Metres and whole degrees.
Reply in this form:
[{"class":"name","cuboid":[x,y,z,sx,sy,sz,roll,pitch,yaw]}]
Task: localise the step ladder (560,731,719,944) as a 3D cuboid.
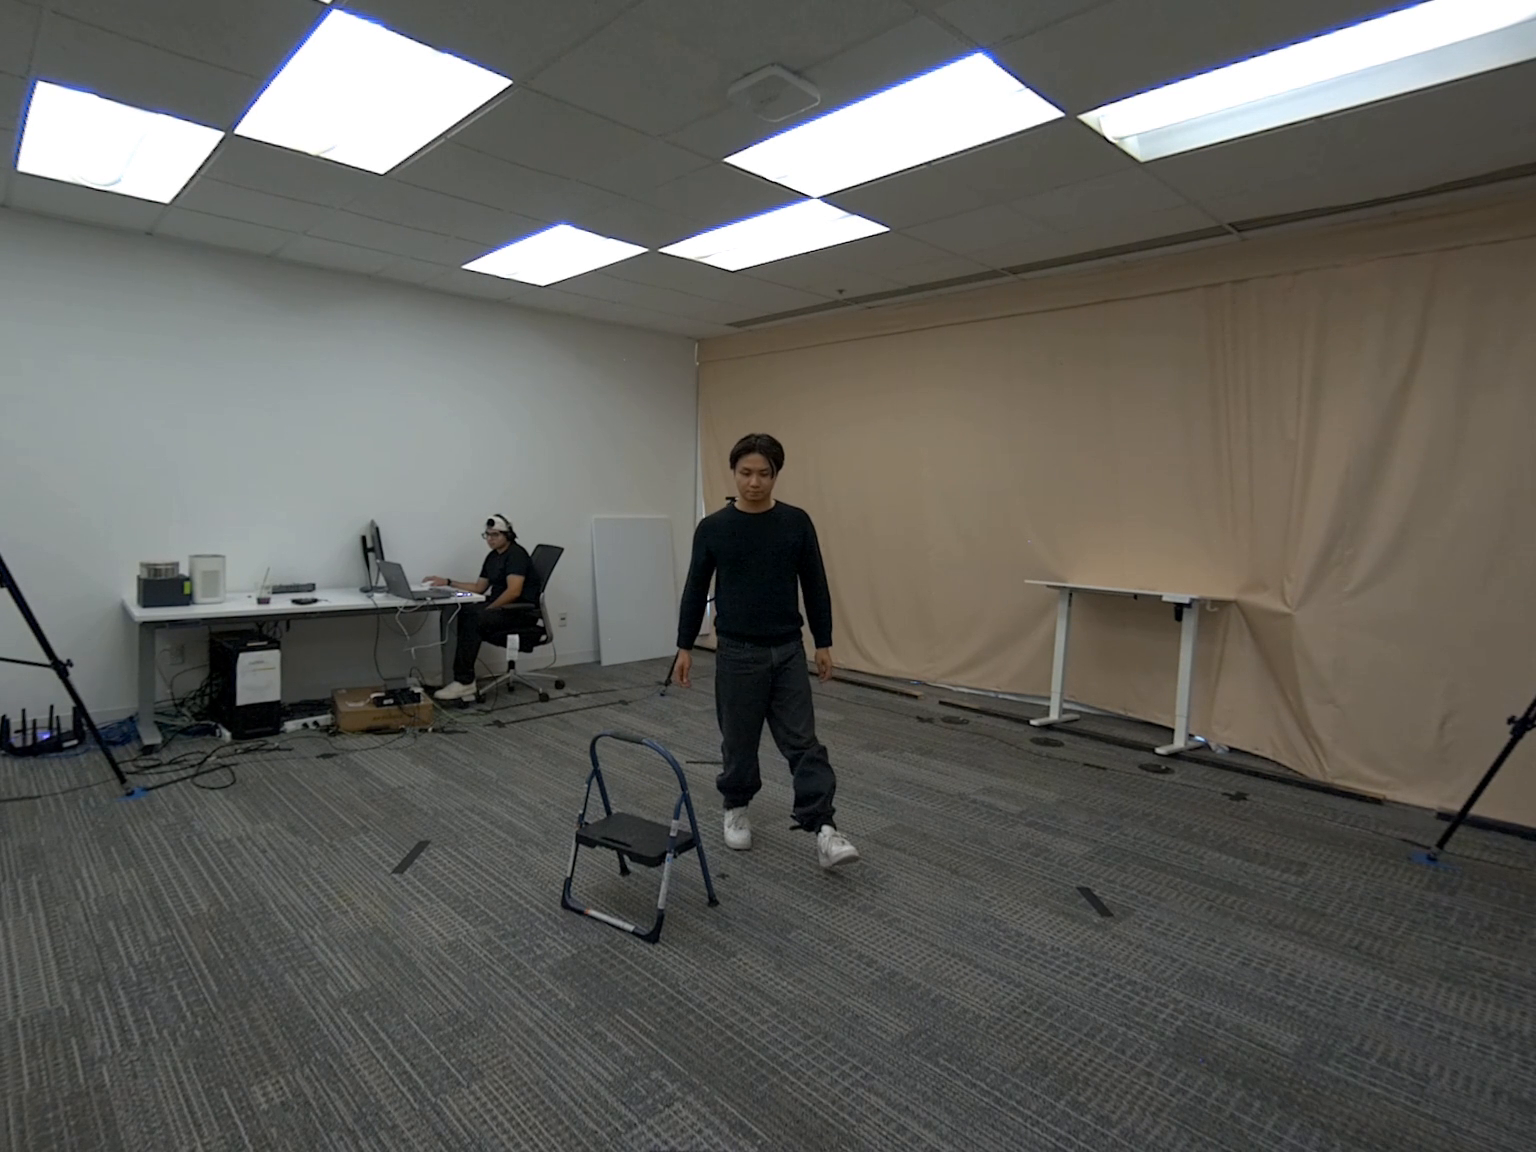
[{"class":"step ladder","cuboid":[-0.437,0.821,2.849,0.440,0.604,0.342,4,4,32]}]
